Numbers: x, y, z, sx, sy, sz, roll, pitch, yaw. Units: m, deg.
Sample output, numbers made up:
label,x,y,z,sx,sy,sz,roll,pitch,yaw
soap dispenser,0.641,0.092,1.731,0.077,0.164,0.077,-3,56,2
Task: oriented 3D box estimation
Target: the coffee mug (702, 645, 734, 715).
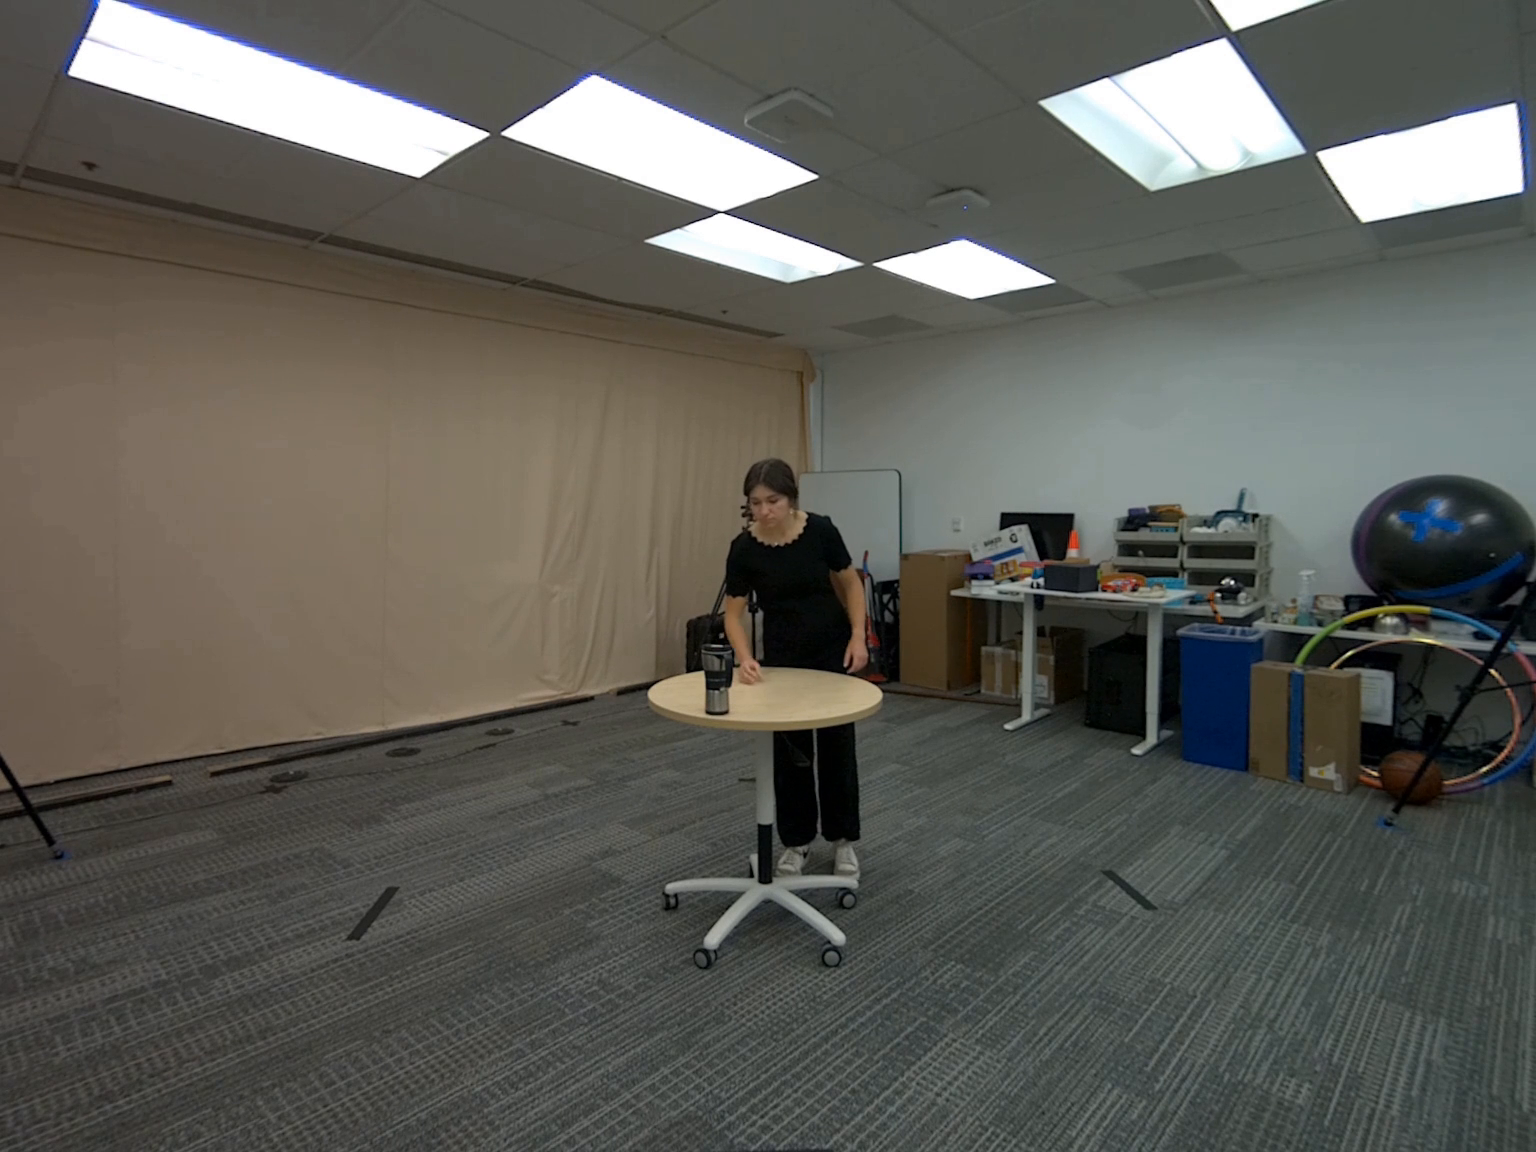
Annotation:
label,x,y,z,sx,sy,sz,roll,pitch,yaw
coffee mug,-0.143,0.306,2.473,0.088,0.203,0.121,5,-1,5
